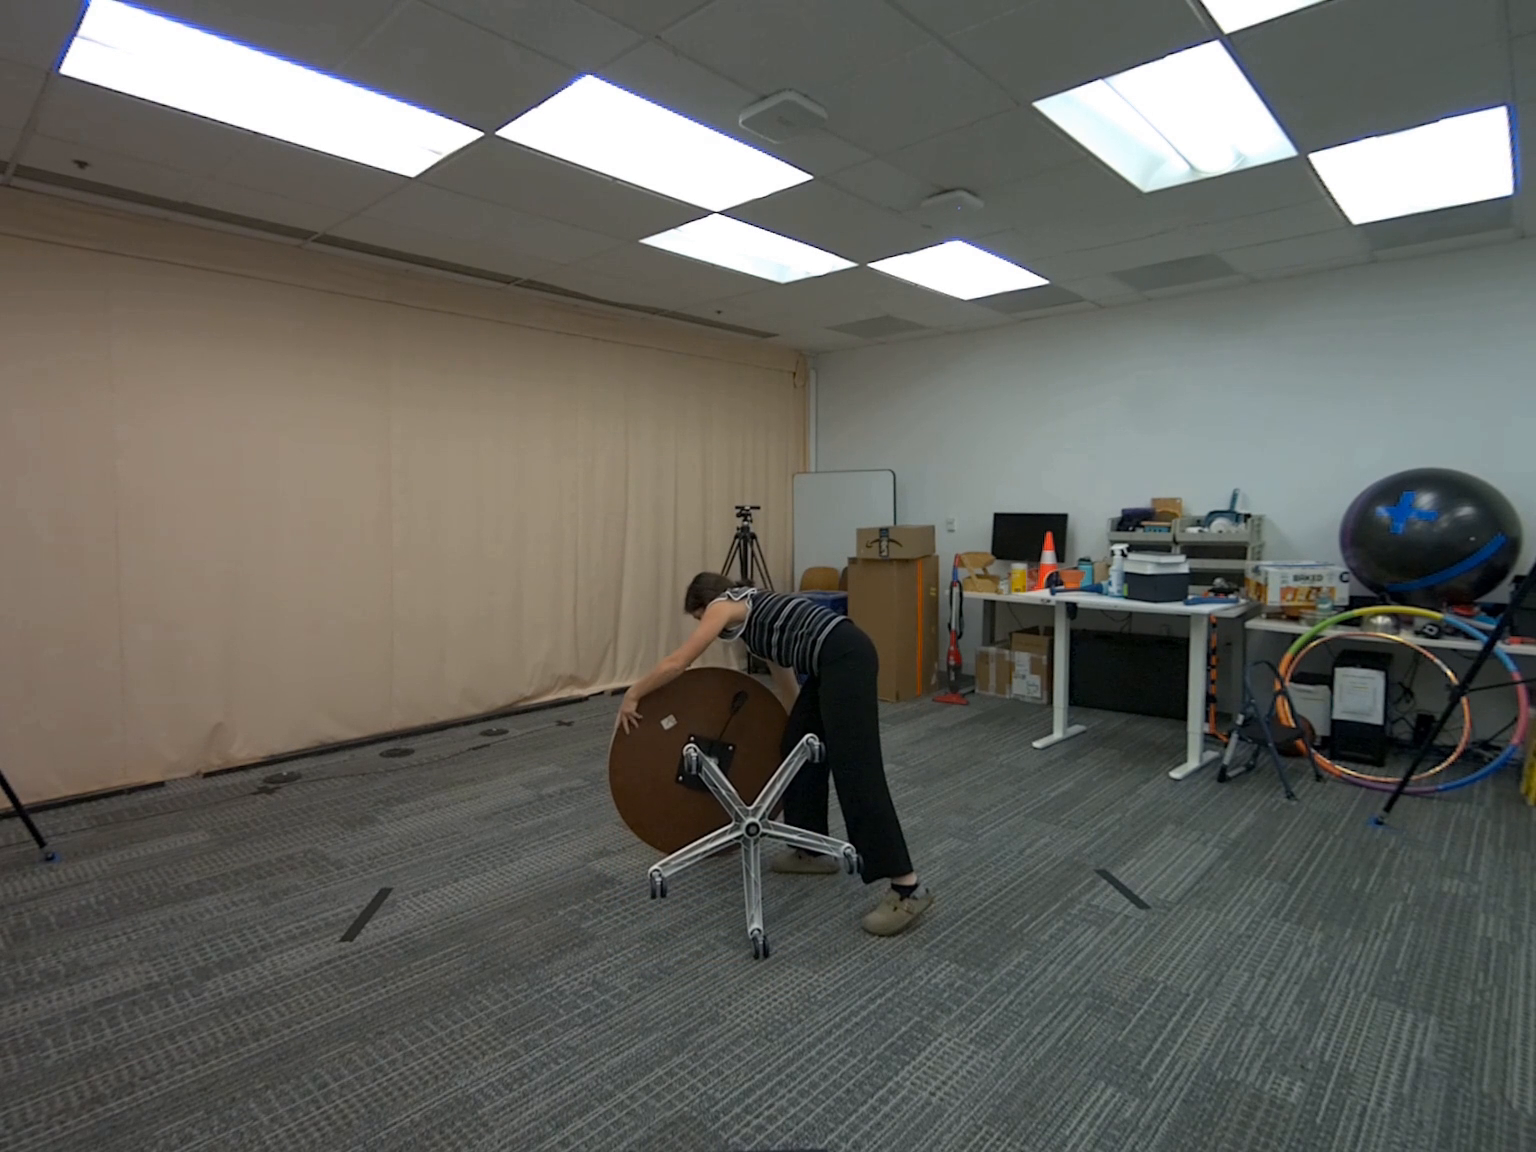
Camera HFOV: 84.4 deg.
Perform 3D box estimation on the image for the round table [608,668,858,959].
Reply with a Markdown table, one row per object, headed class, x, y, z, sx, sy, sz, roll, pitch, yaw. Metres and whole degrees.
| class | x | y | z | sx | sy | sz | roll | pitch | yaw |
| --- | --- | --- | --- | --- | --- | --- | --- | --- | --- |
| round table | -0.139 | 0.772 | 2.939 | 0.753 | 0.761 | 0.808 | -1 | 5 | -15 |
